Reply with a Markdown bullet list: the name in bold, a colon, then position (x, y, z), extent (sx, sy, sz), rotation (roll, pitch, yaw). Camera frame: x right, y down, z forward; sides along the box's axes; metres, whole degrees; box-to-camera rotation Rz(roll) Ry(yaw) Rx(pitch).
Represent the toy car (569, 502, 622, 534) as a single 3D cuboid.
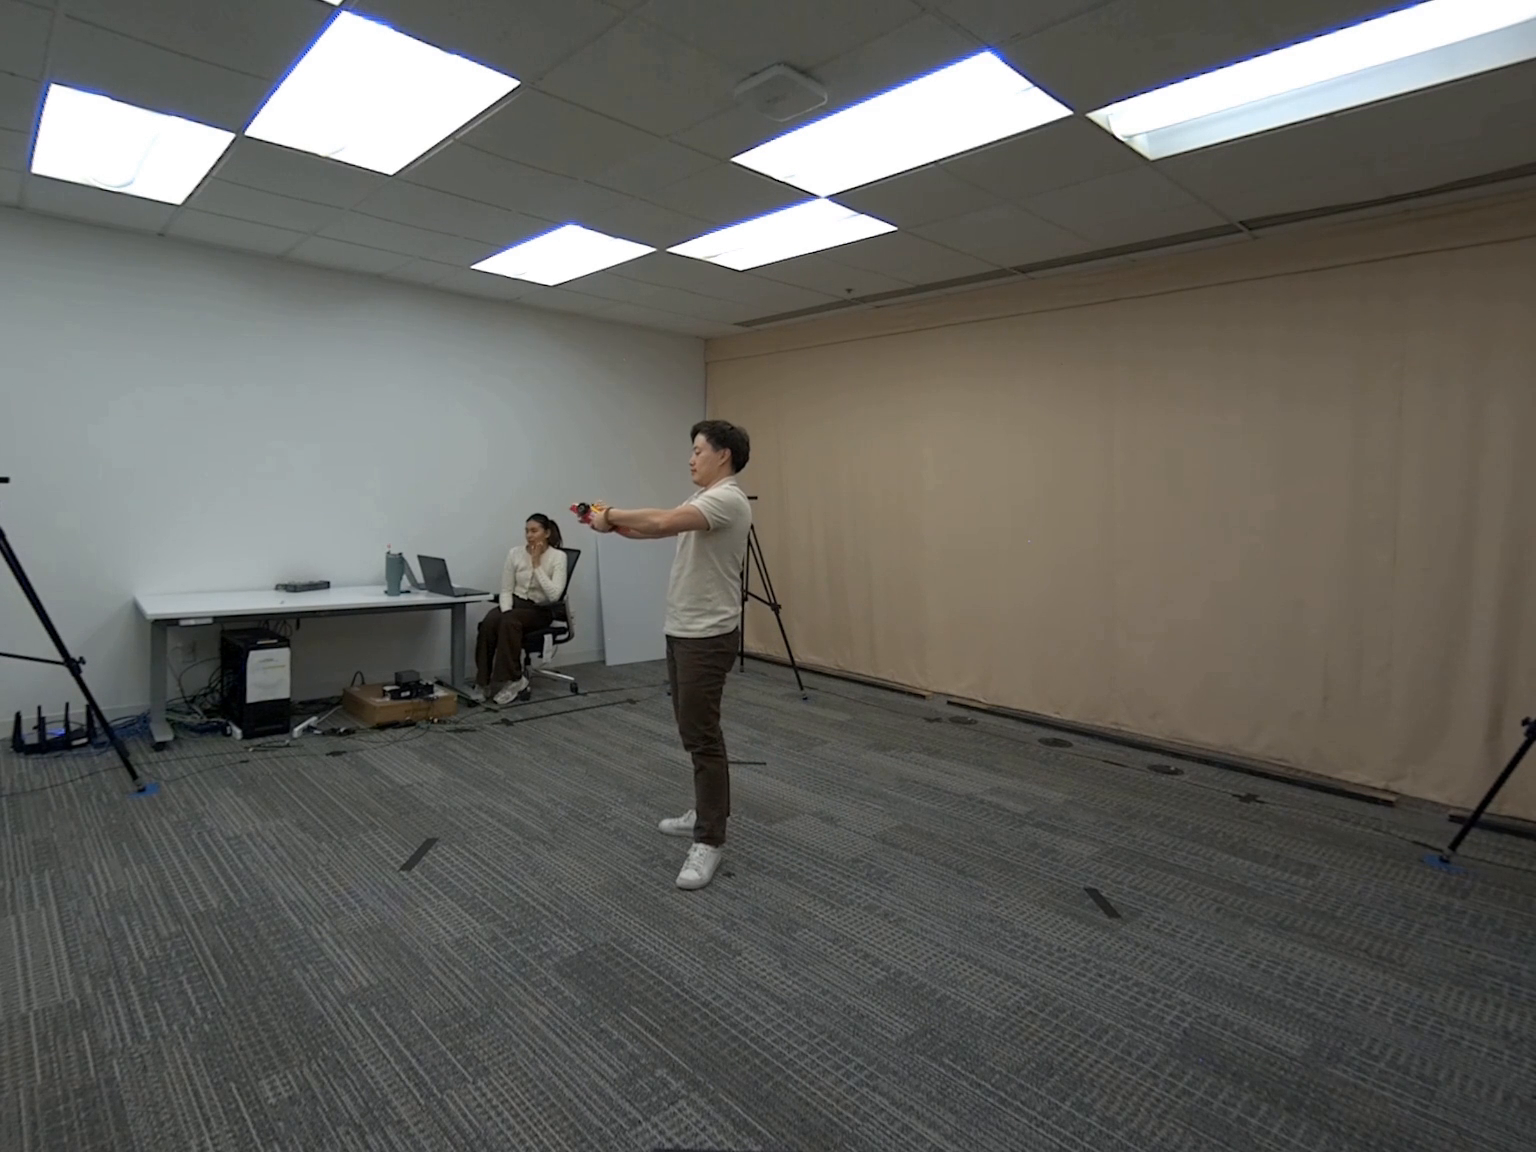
- **toy car**: position (-0.651, -0.233, 3.220), extent (0.260, 0.083, 0.128), rotation (12, 7, 23)
